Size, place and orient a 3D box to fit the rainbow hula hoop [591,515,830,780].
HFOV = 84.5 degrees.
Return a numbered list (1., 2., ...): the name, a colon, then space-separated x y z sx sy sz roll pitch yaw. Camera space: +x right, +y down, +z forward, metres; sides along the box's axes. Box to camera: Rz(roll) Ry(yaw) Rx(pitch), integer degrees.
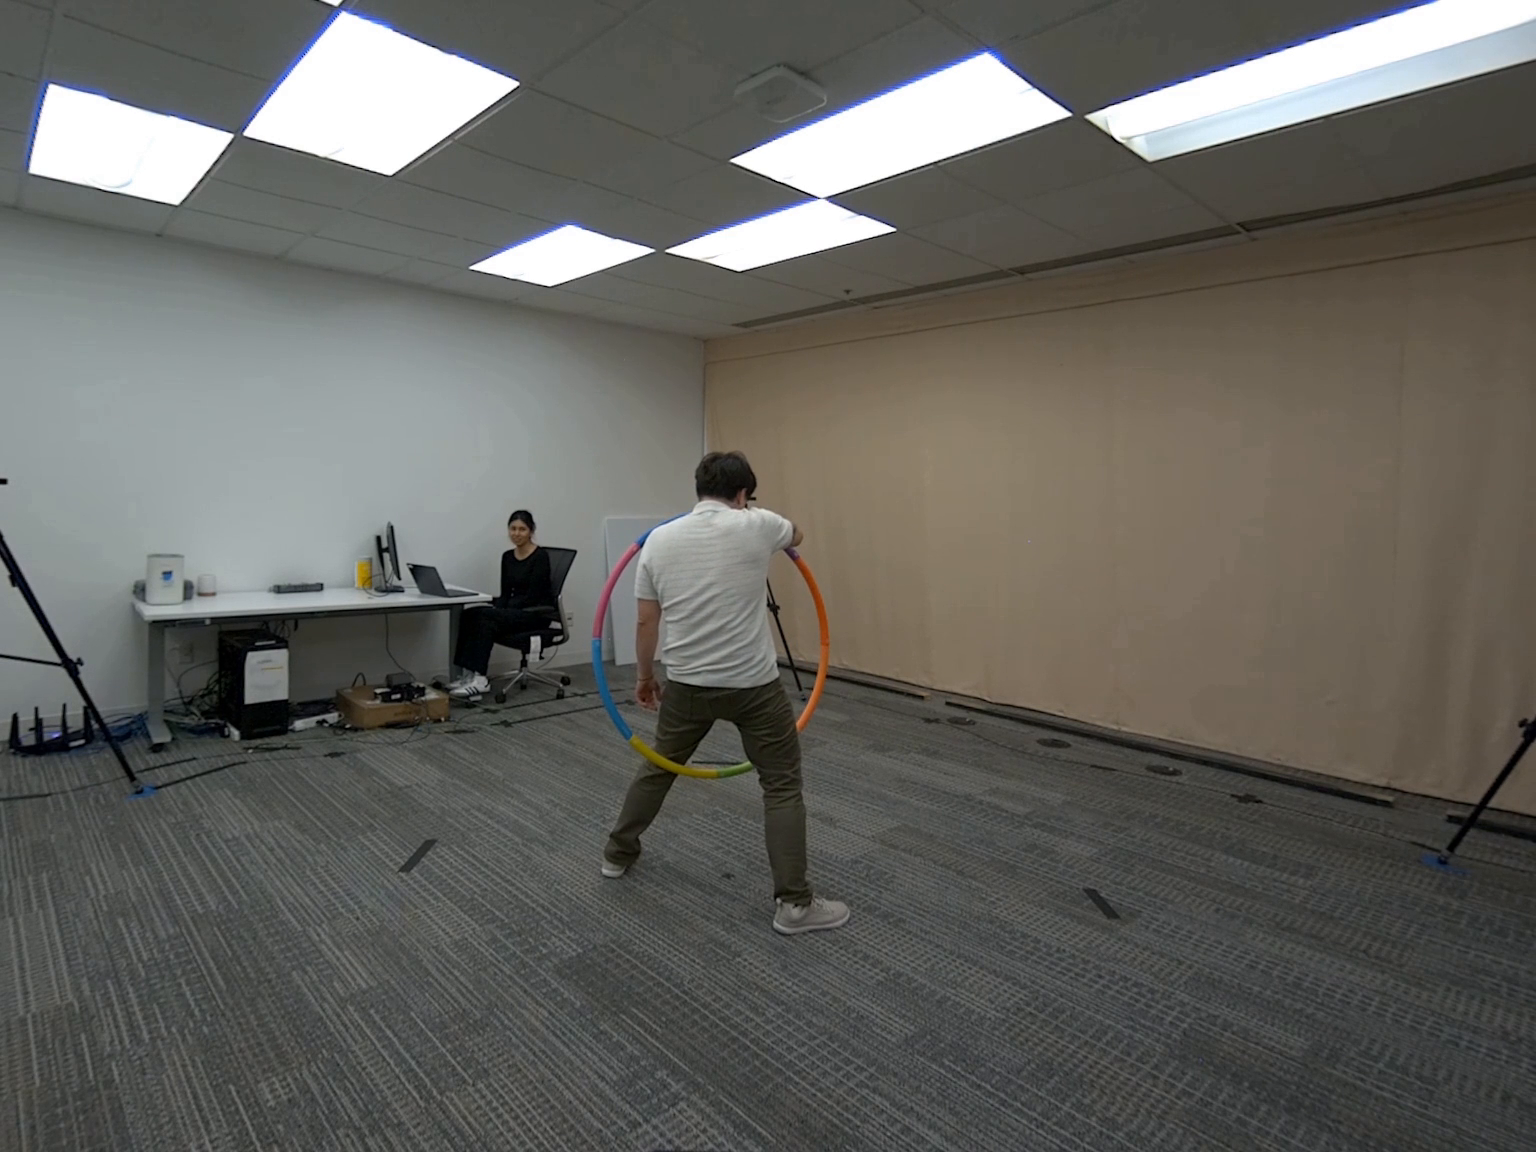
1. rainbow hula hoop: -0.189 0.241 3.145 0.959 0.983 0.036 -1 -7 -29
